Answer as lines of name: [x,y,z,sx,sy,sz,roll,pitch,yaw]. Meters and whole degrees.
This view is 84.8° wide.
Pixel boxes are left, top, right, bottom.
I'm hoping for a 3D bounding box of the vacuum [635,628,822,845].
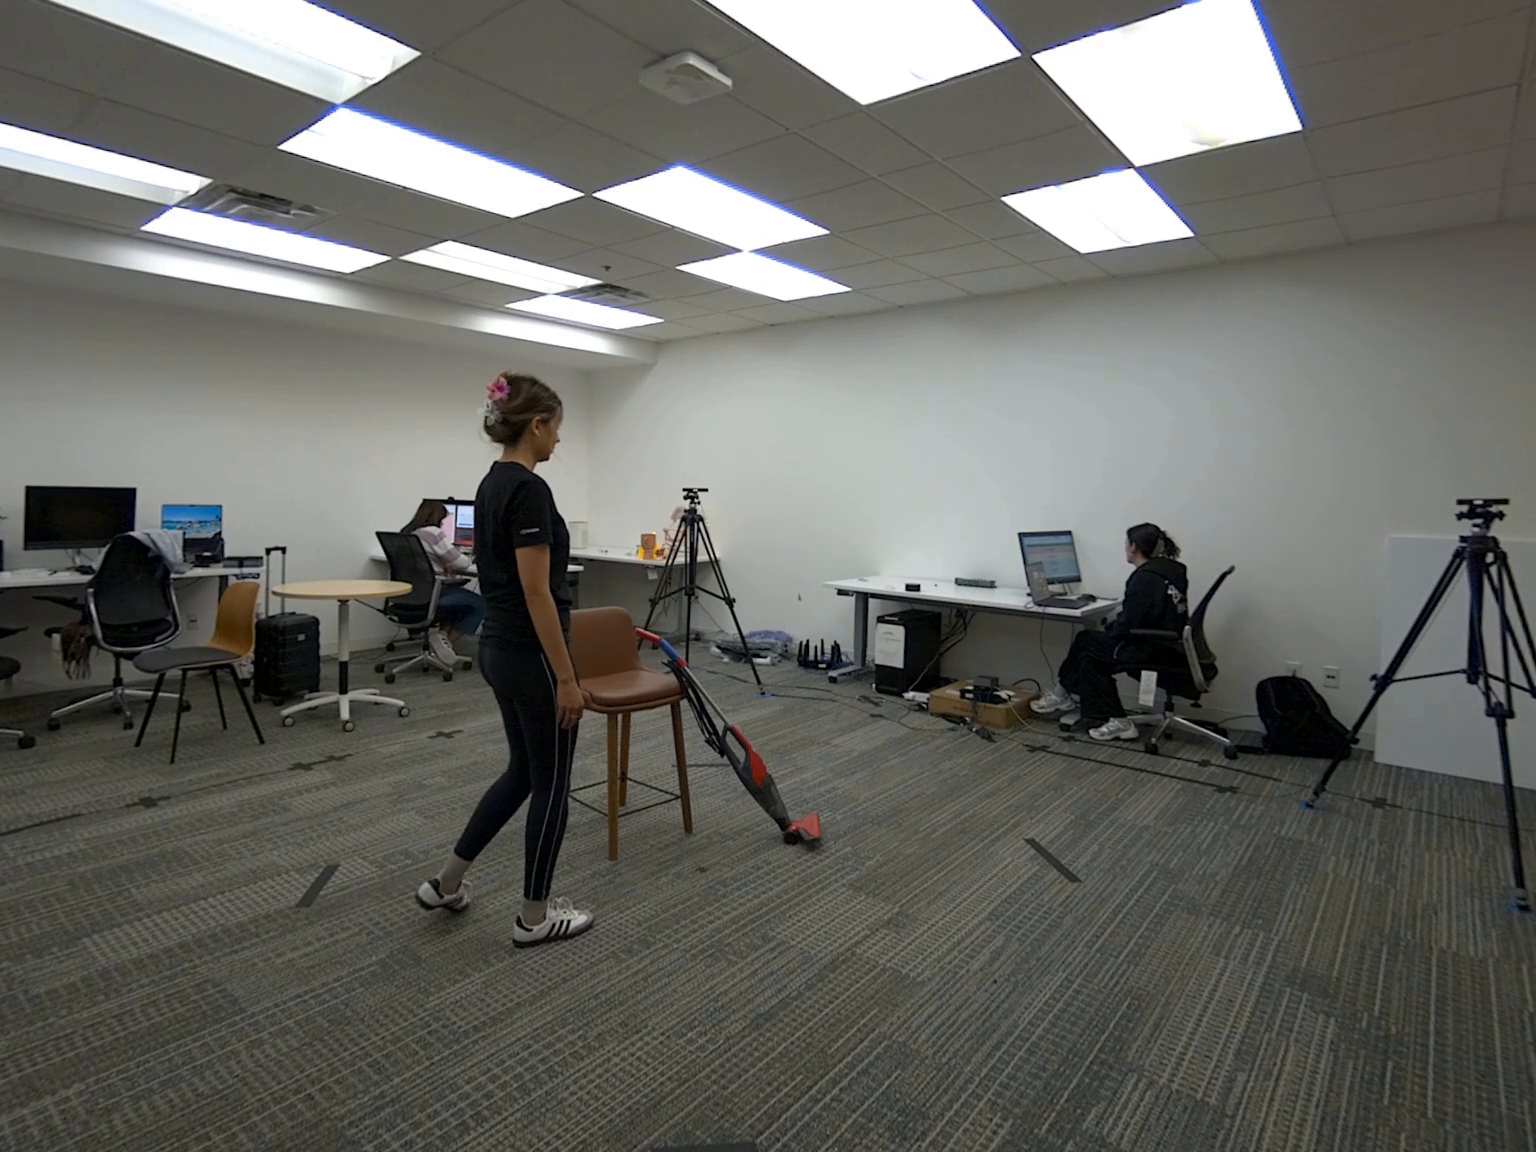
vacuum: [-0.190,0.628,3.415,0.144,1.052,0.252,-40,-1,5]
